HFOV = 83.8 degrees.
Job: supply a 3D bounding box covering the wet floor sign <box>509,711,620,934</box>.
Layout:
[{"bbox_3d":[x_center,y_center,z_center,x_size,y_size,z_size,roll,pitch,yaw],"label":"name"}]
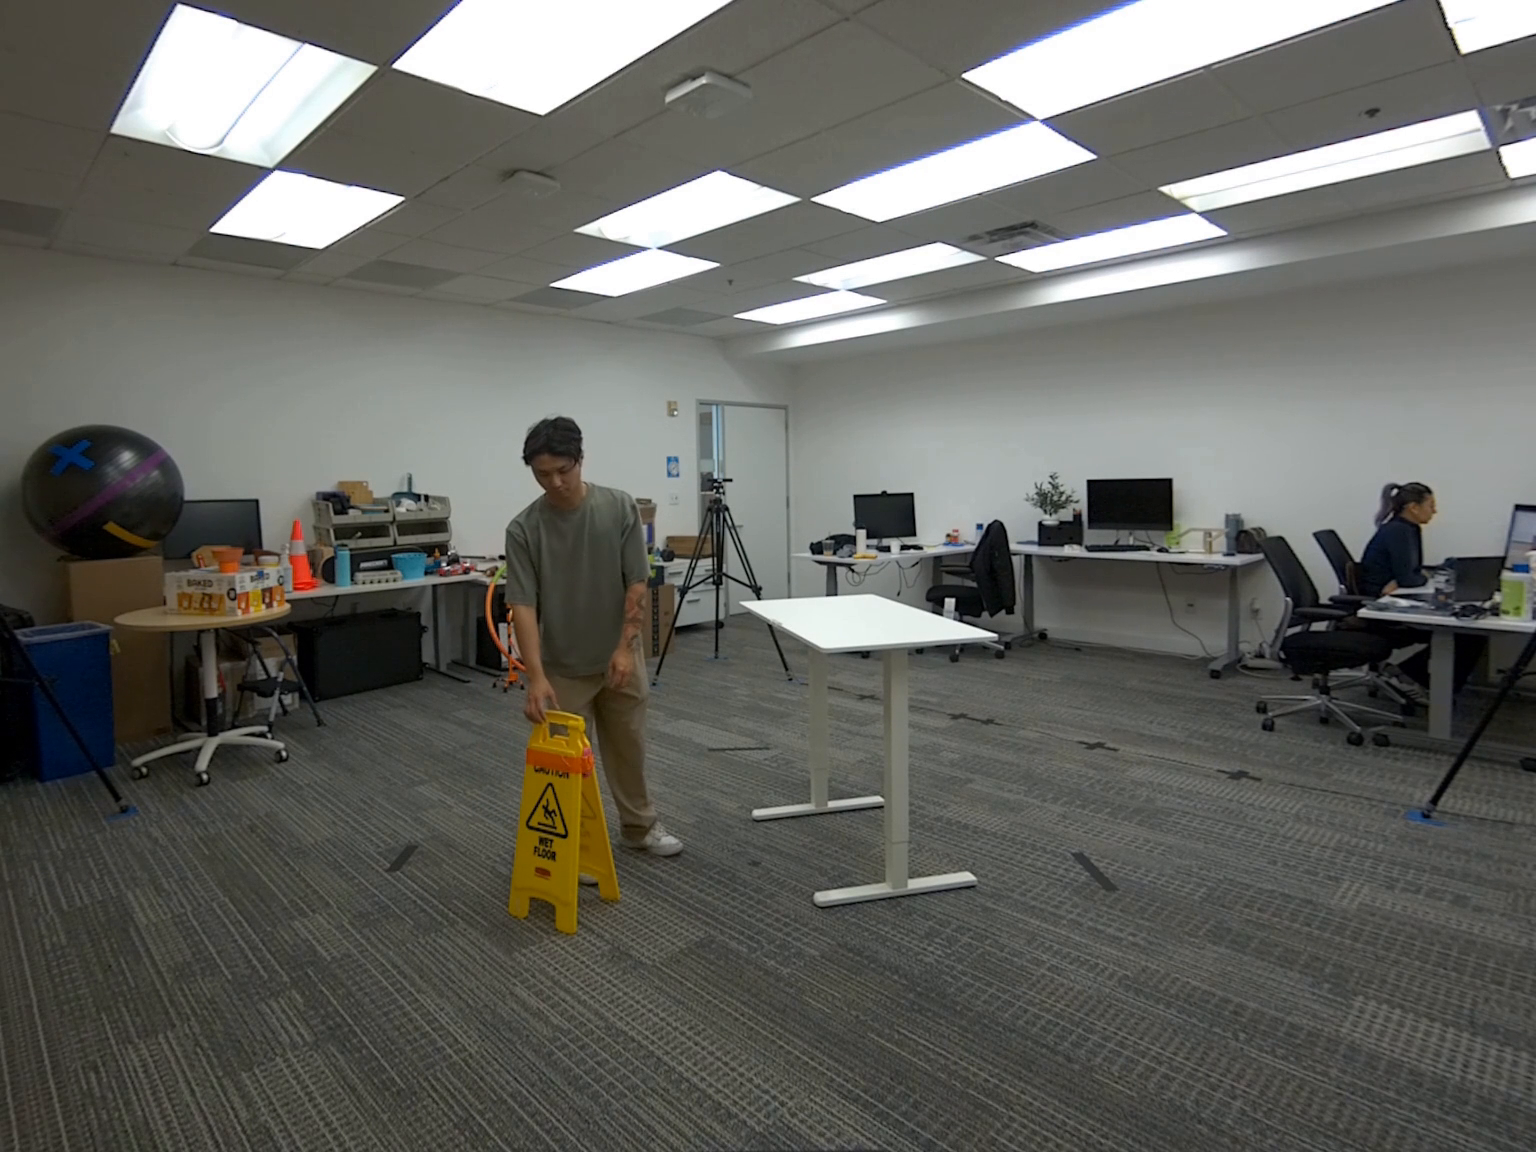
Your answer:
[{"bbox_3d":[-0.667,0.773,2.792,0.289,0.643,0.284,0,5,29],"label":"wet floor sign"}]
